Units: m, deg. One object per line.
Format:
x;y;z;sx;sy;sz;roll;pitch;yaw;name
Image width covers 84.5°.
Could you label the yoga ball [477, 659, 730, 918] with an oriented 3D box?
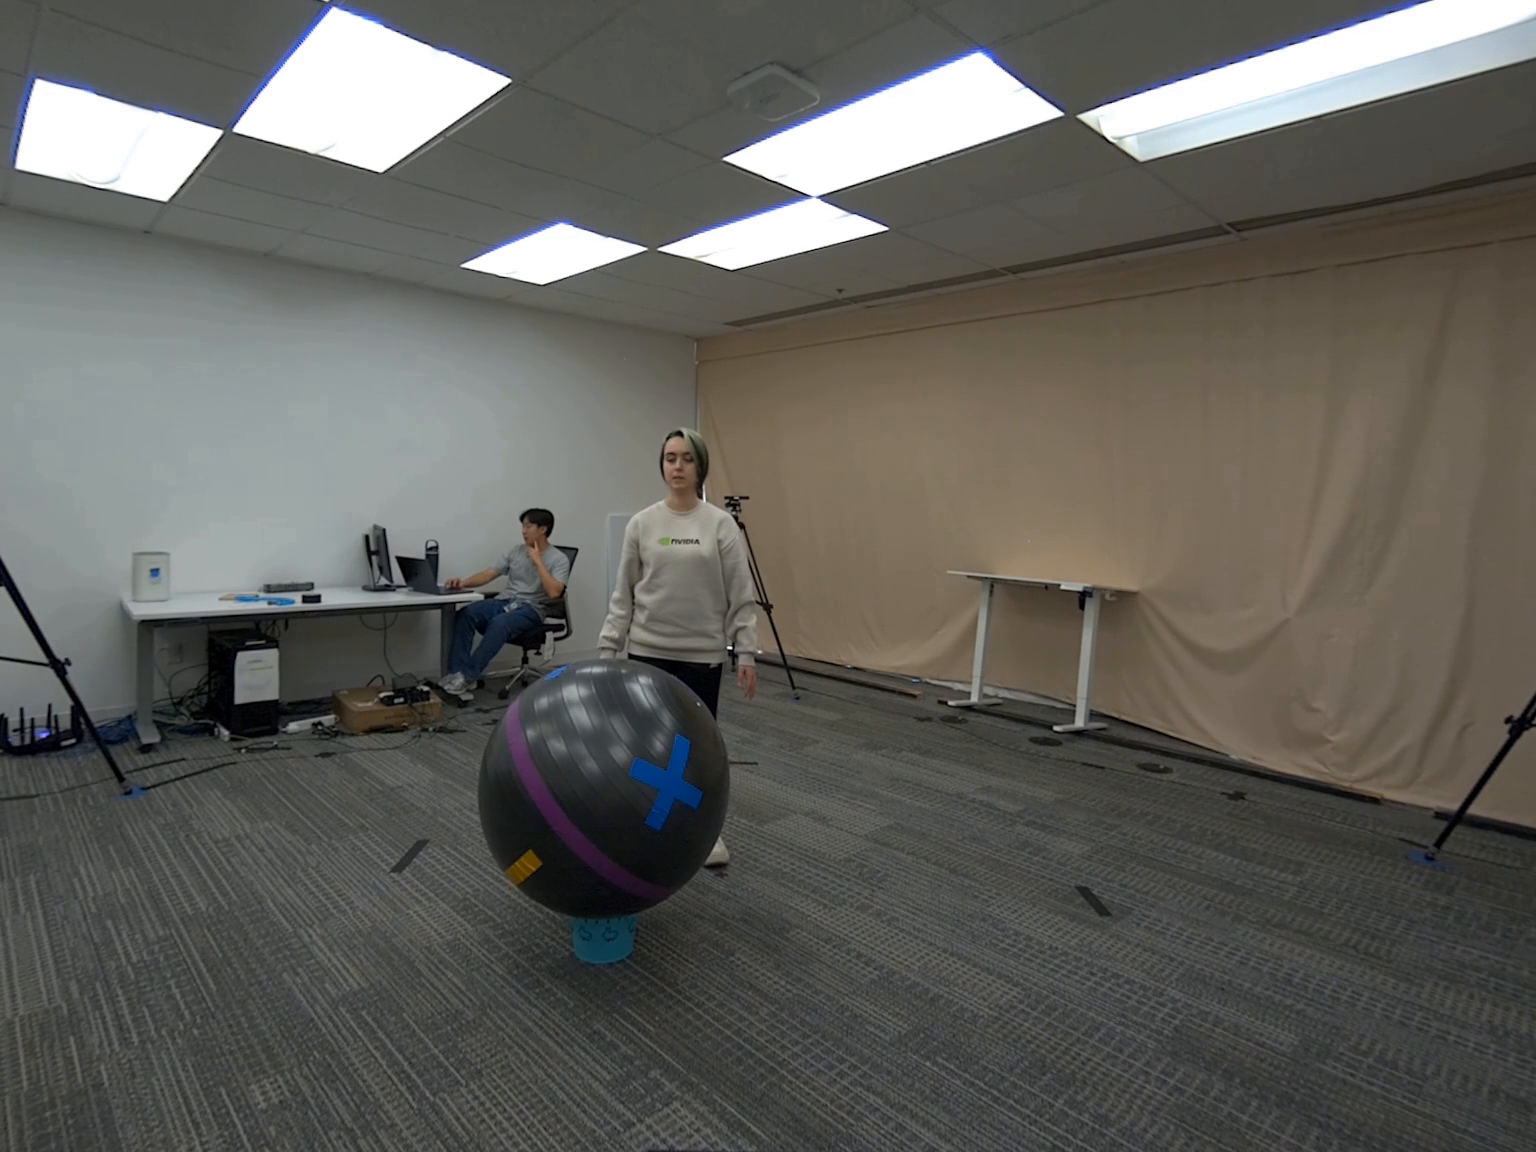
-0.498;0.637;2.558;0.757;0.756;0.761;1;4;-1;yoga ball
